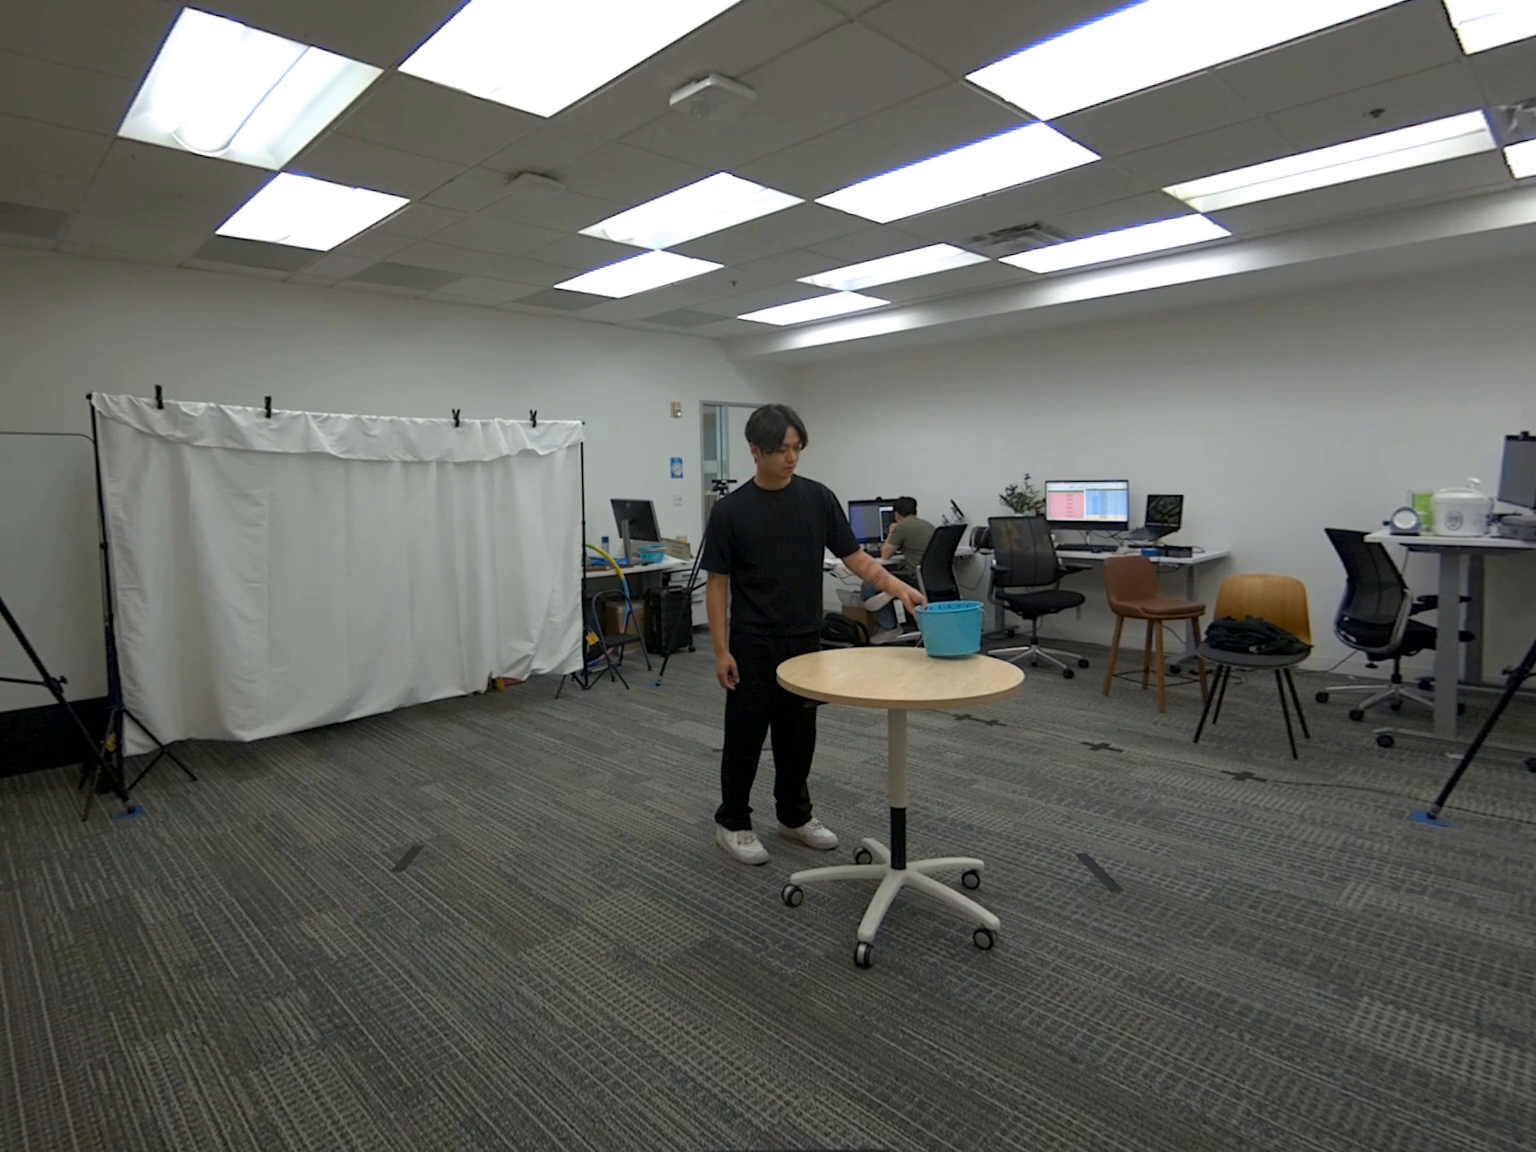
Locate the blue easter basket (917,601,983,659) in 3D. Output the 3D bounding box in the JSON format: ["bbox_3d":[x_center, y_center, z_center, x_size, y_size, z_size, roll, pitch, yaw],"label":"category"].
[{"bbox_3d":[0.648,0.183,2.914,0.243,0.155,0.245,-5,5,-1],"label":"blue easter basket"}]
